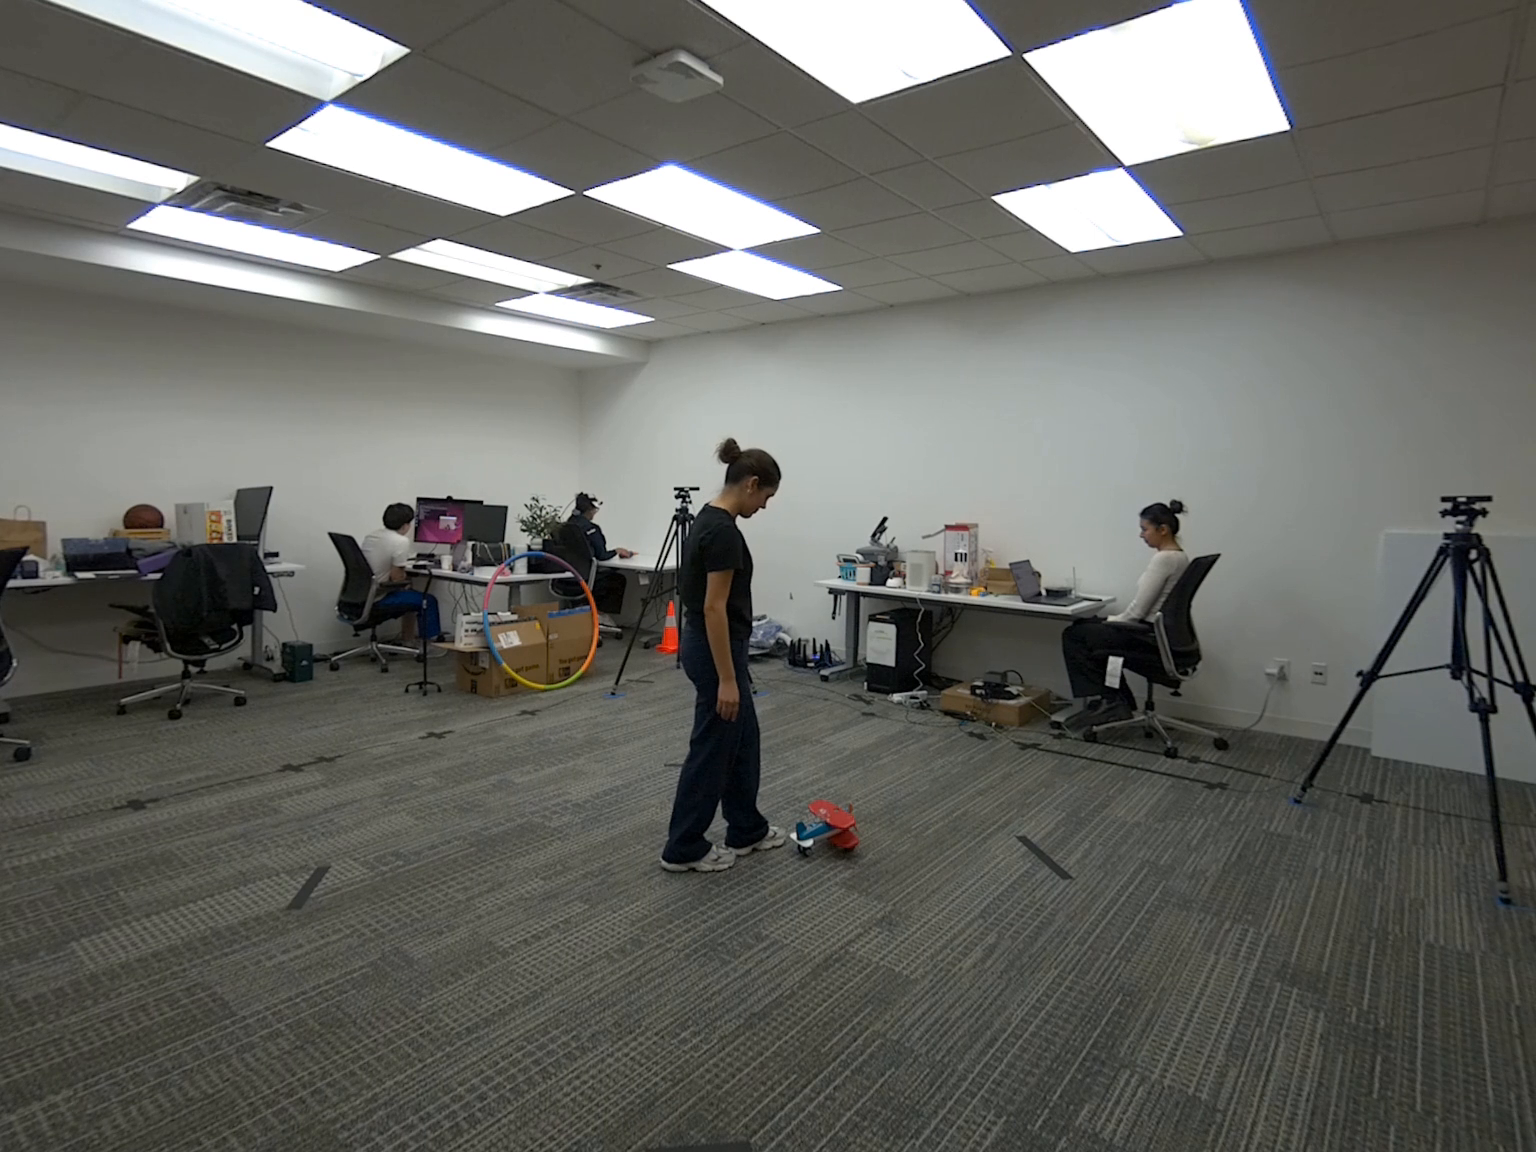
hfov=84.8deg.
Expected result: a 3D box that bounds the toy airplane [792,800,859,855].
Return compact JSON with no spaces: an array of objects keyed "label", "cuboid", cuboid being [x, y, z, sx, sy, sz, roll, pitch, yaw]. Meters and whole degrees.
[{"label":"toy airplane","cuboid":[0.244,0.985,3.281,0.259,0.156,0.252,3,5,34]}]
